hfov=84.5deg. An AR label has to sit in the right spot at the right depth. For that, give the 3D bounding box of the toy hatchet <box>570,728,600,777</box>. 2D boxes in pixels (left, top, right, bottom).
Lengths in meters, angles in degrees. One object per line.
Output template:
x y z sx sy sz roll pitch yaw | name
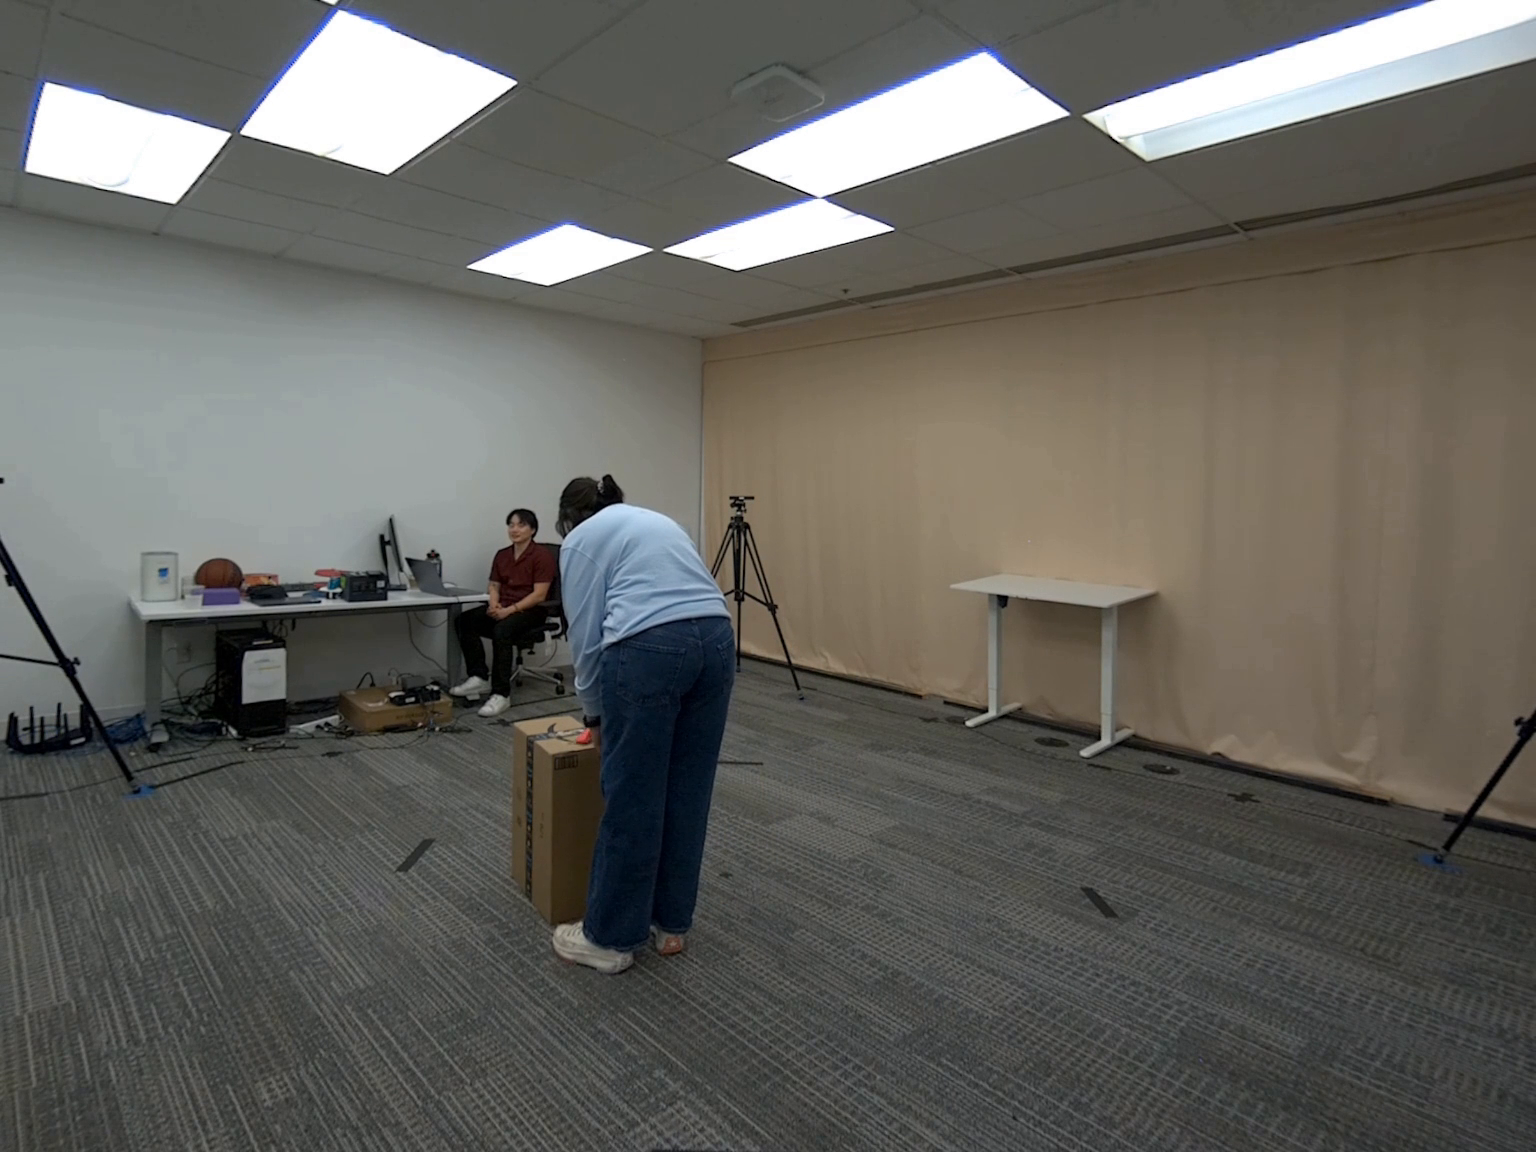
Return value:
-0.566 0.550 2.733 0.130 0.029 0.275 -20 16 -10 | toy hatchet
